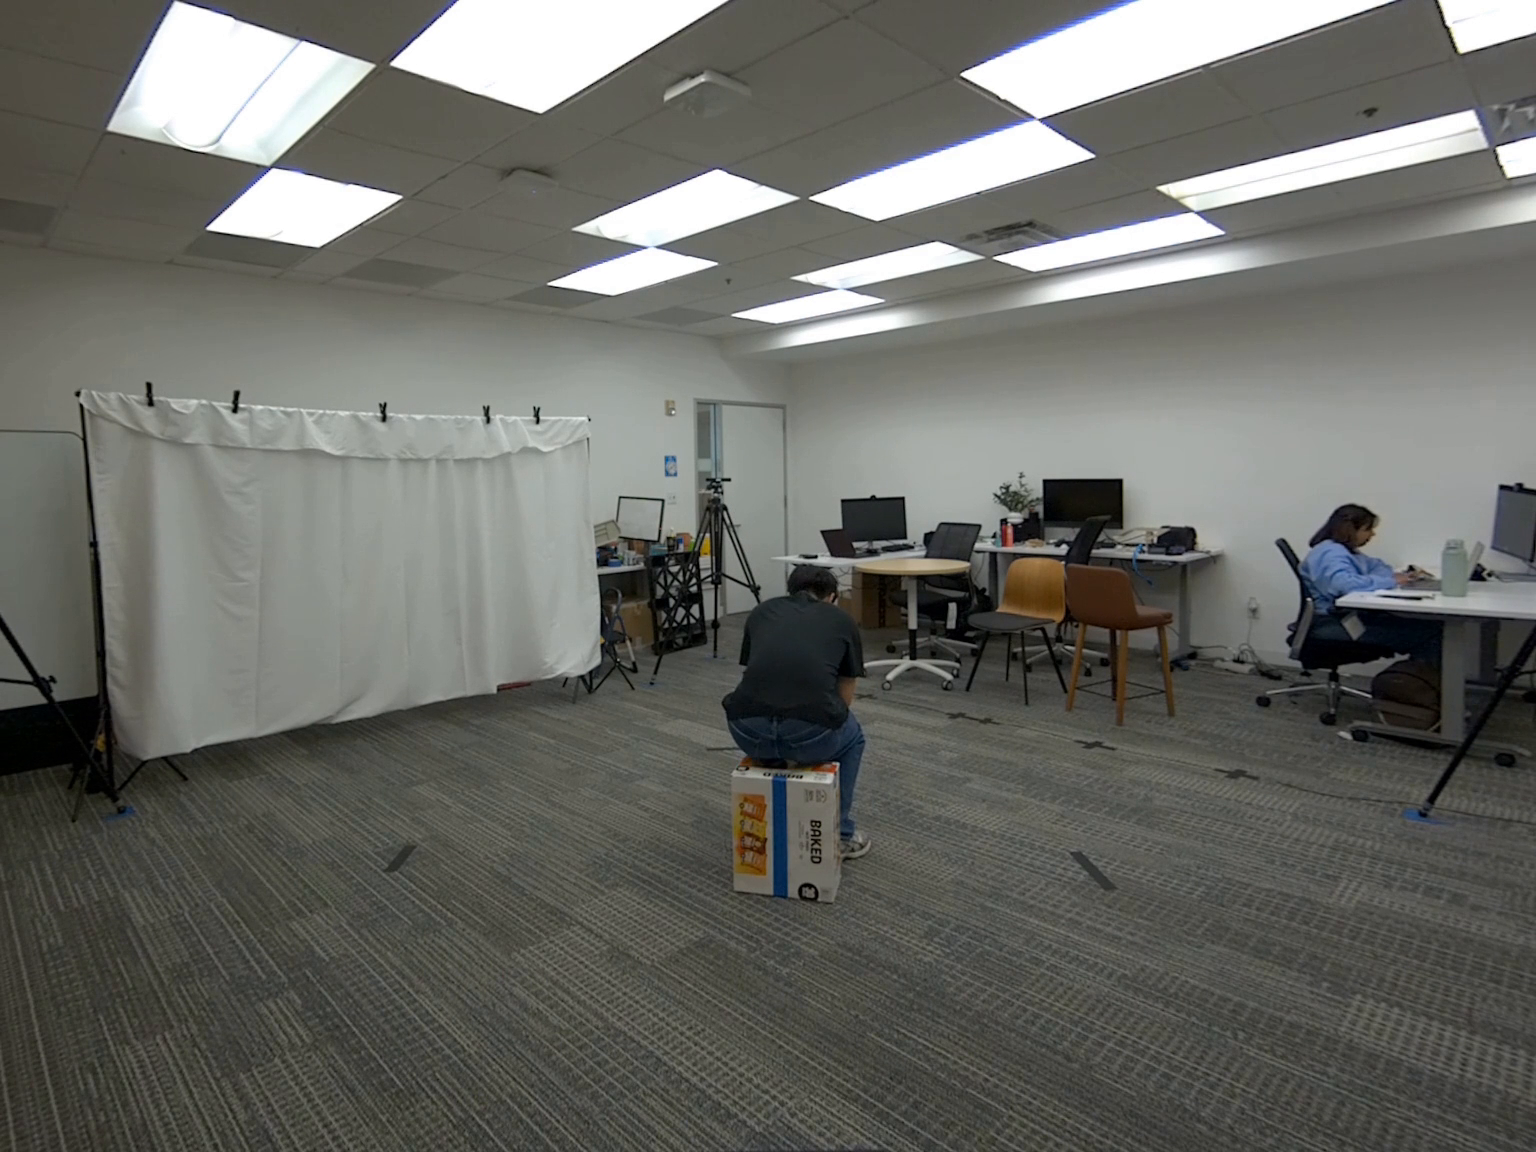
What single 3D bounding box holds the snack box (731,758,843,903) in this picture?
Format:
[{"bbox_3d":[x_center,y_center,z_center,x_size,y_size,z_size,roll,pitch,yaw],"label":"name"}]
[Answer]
[{"bbox_3d":[0.069,0.859,2.926,0.345,0.403,0.203,0,4,15],"label":"snack box"}]
